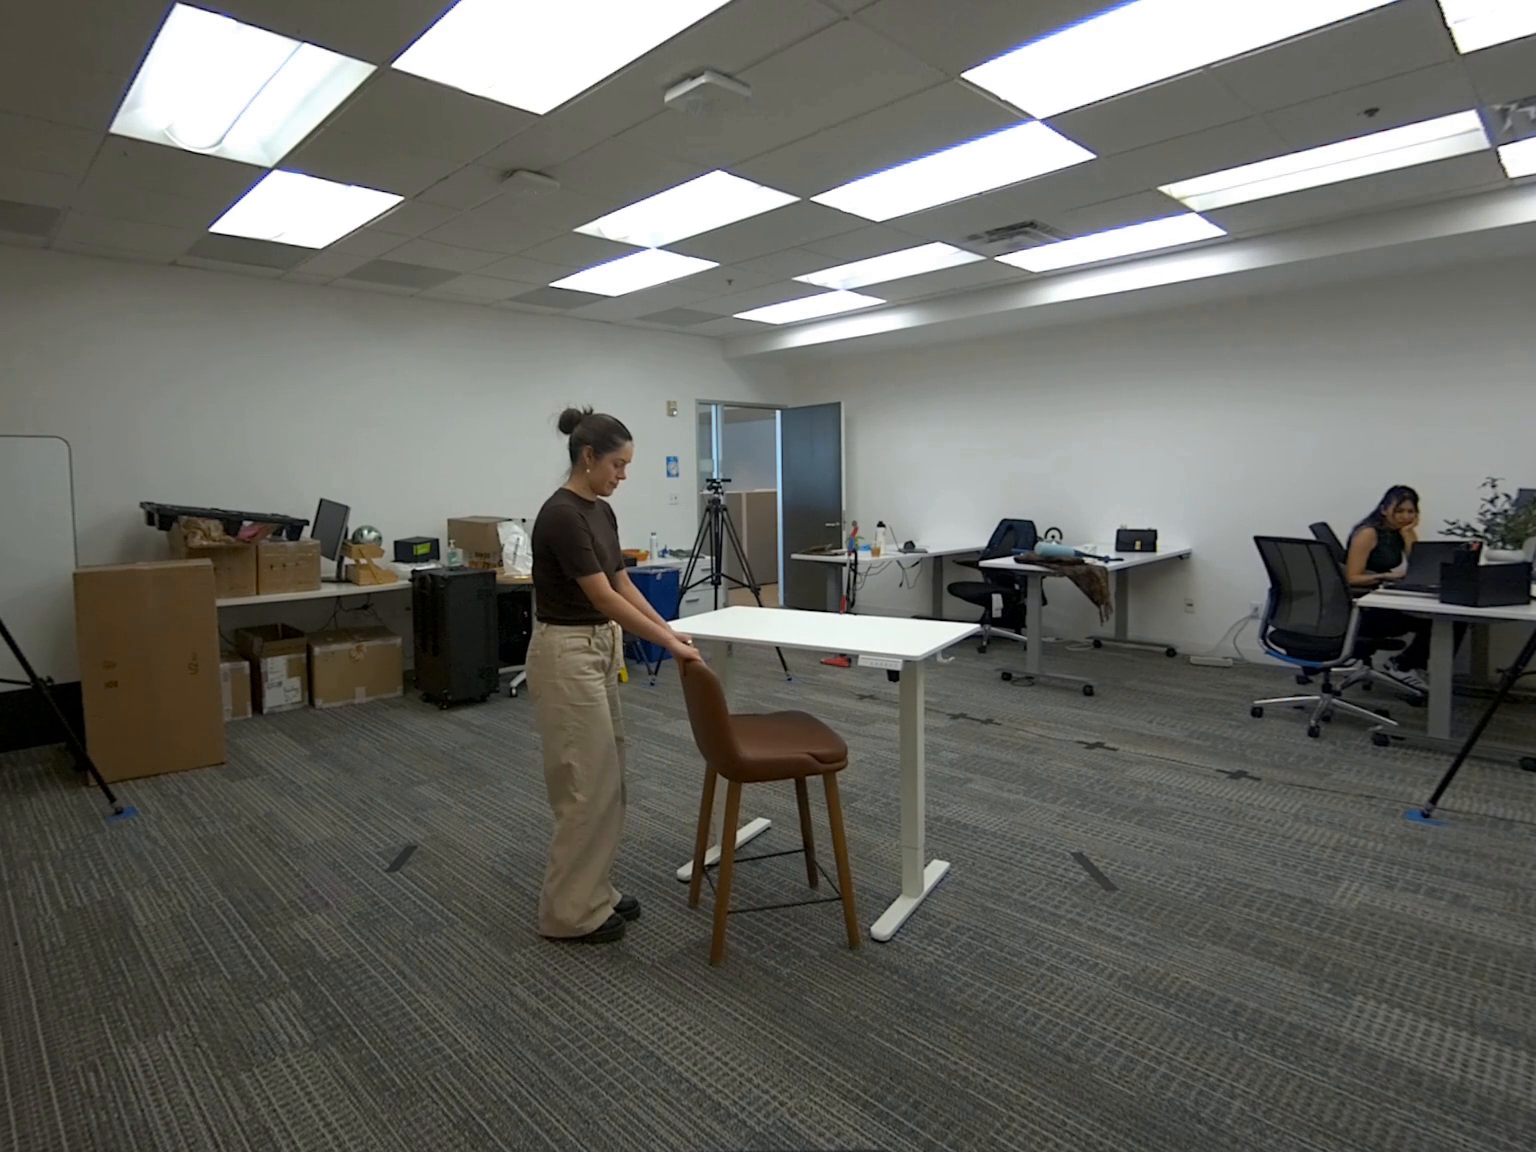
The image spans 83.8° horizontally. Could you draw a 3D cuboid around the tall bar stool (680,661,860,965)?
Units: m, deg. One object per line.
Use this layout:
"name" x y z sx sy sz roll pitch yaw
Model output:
"tall bar stool" -0.013 0.651 2.652 0.461 0.886 0.464 -4 5 -15
